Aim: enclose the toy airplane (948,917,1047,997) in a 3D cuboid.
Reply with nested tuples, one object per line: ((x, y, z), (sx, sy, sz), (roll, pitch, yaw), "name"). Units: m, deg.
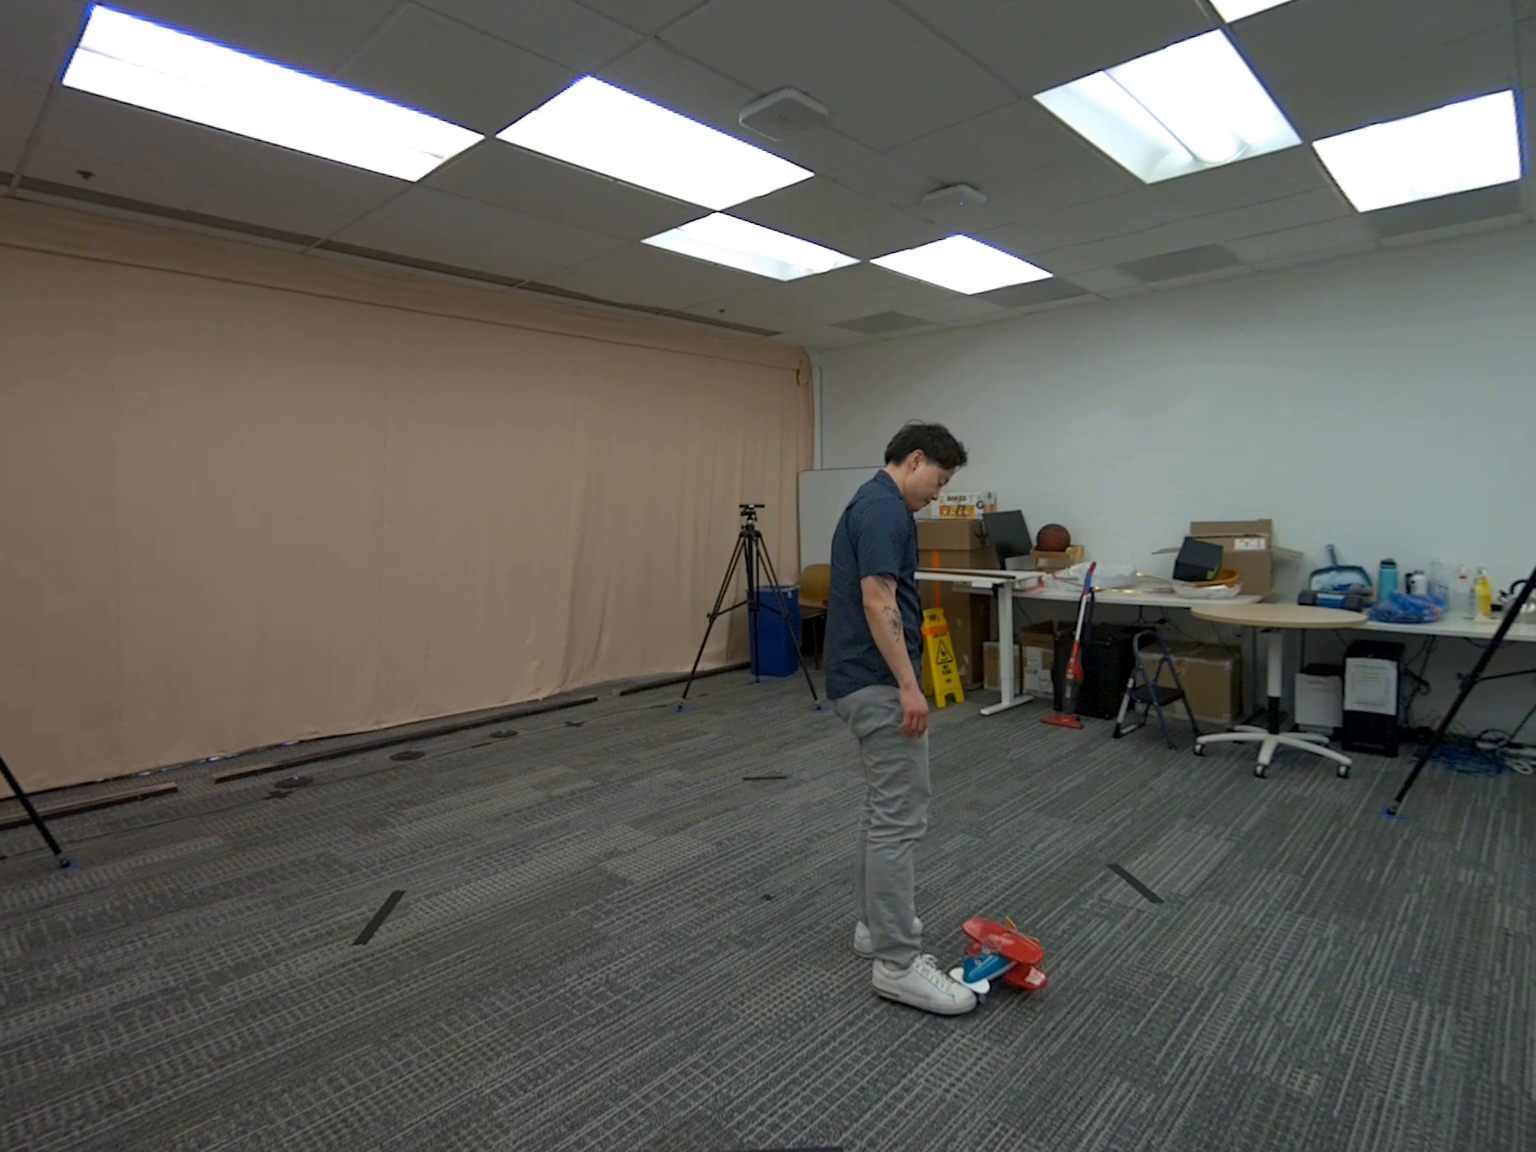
((0.672, 1.108, 2.373), (0.258, 0.156, 0.252), (4, 2, 27), "toy airplane")
